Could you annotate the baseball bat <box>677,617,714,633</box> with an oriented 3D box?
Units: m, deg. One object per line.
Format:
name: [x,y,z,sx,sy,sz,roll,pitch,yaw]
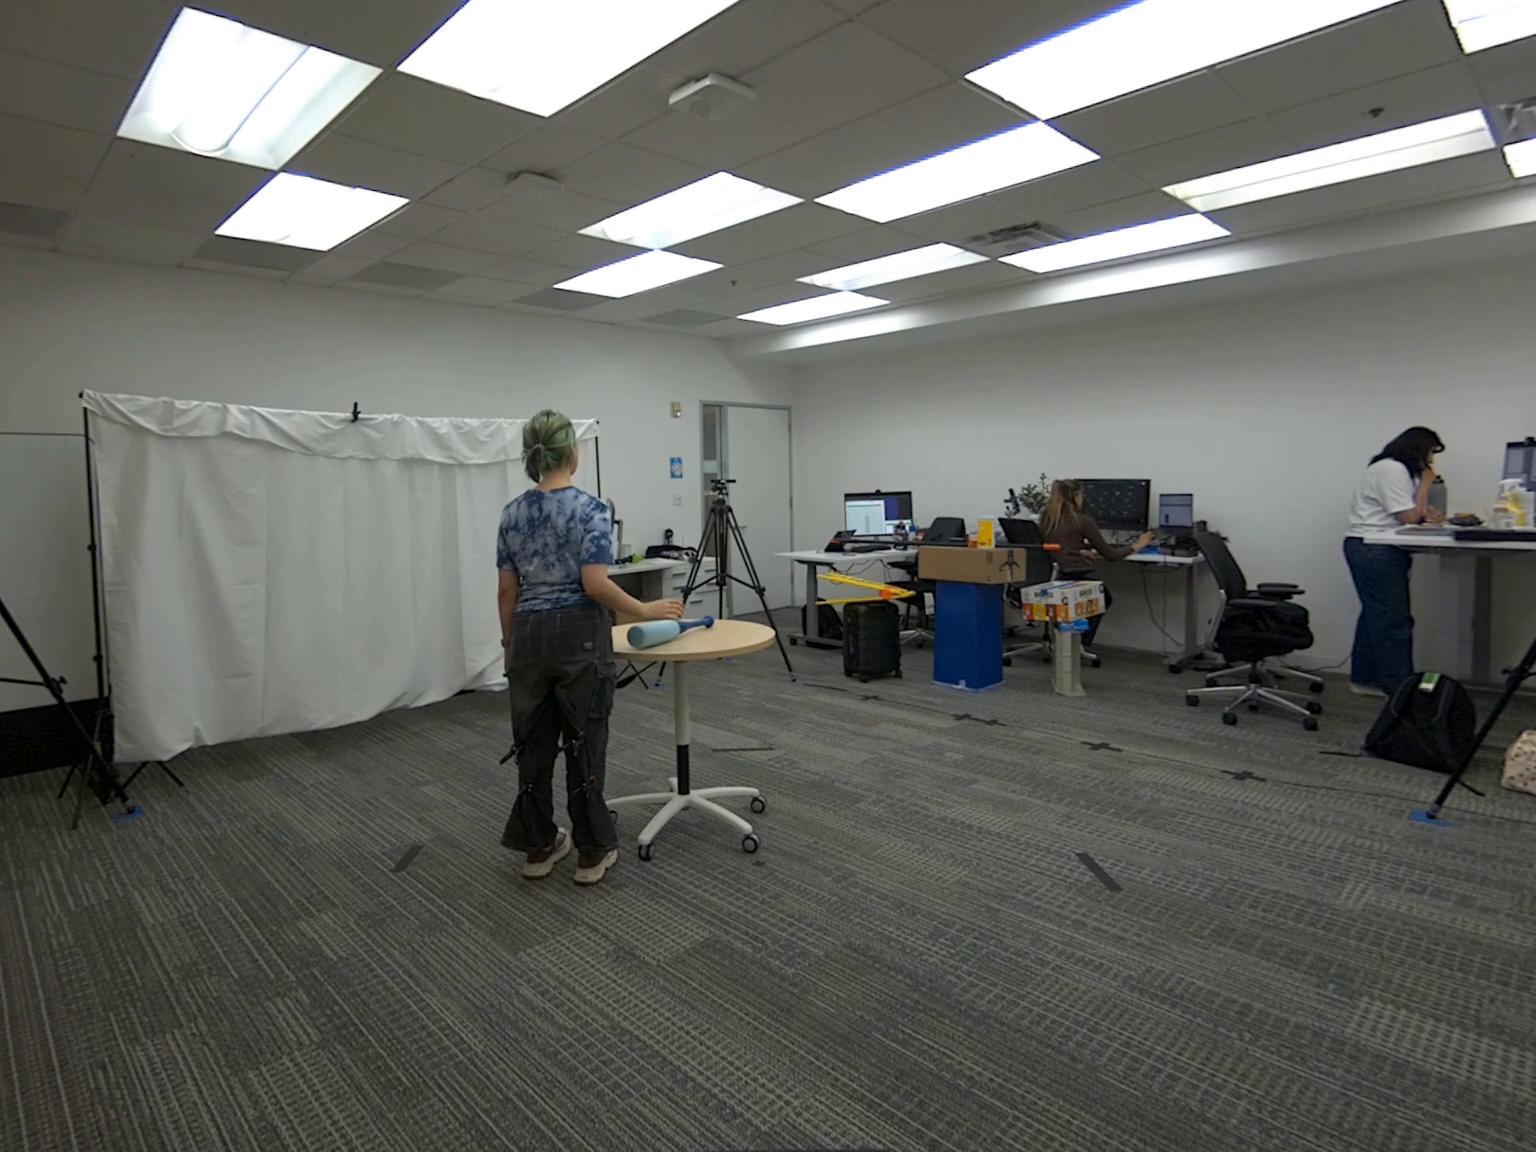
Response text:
baseball bat: [-0.362,0.208,3.333,0.091,0.089,0.531,1,3,25]
